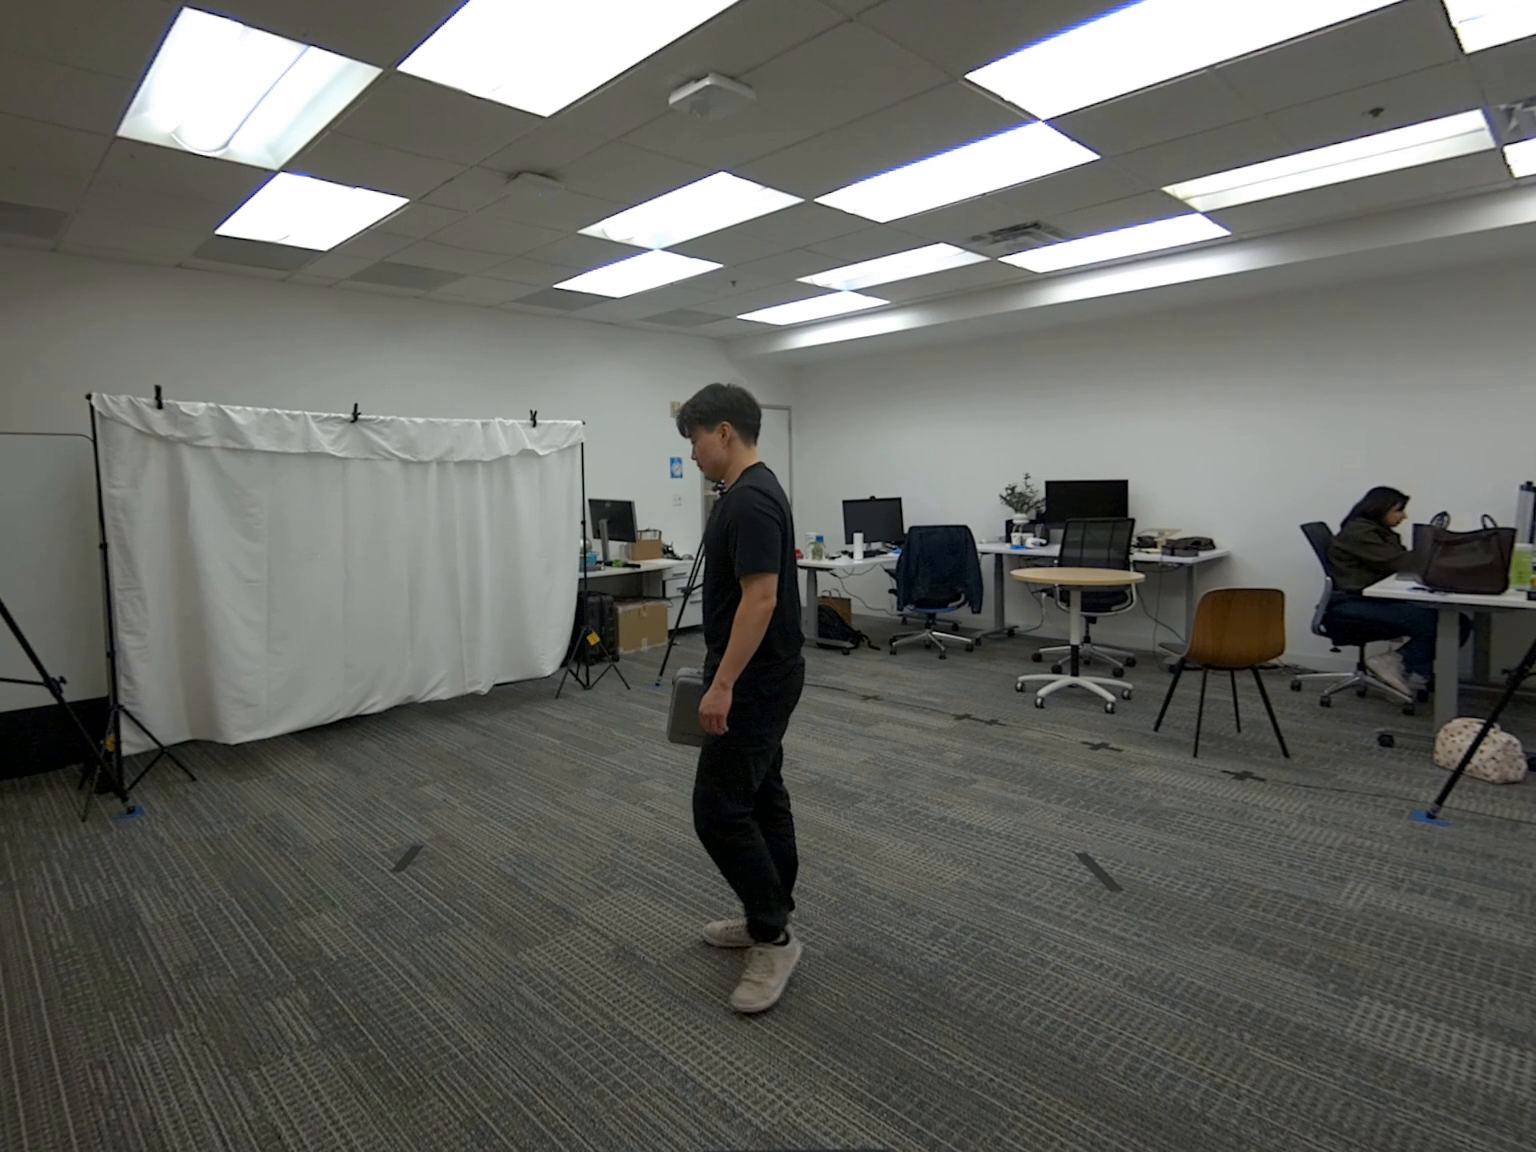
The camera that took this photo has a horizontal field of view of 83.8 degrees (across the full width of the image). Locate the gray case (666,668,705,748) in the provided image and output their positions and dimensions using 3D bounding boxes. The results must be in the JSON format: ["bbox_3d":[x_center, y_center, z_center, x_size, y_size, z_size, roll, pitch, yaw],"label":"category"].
[{"bbox_3d":[-0.186,0.445,2.838,0.257,0.257,0.105,9,15,-1],"label":"gray case"}]
